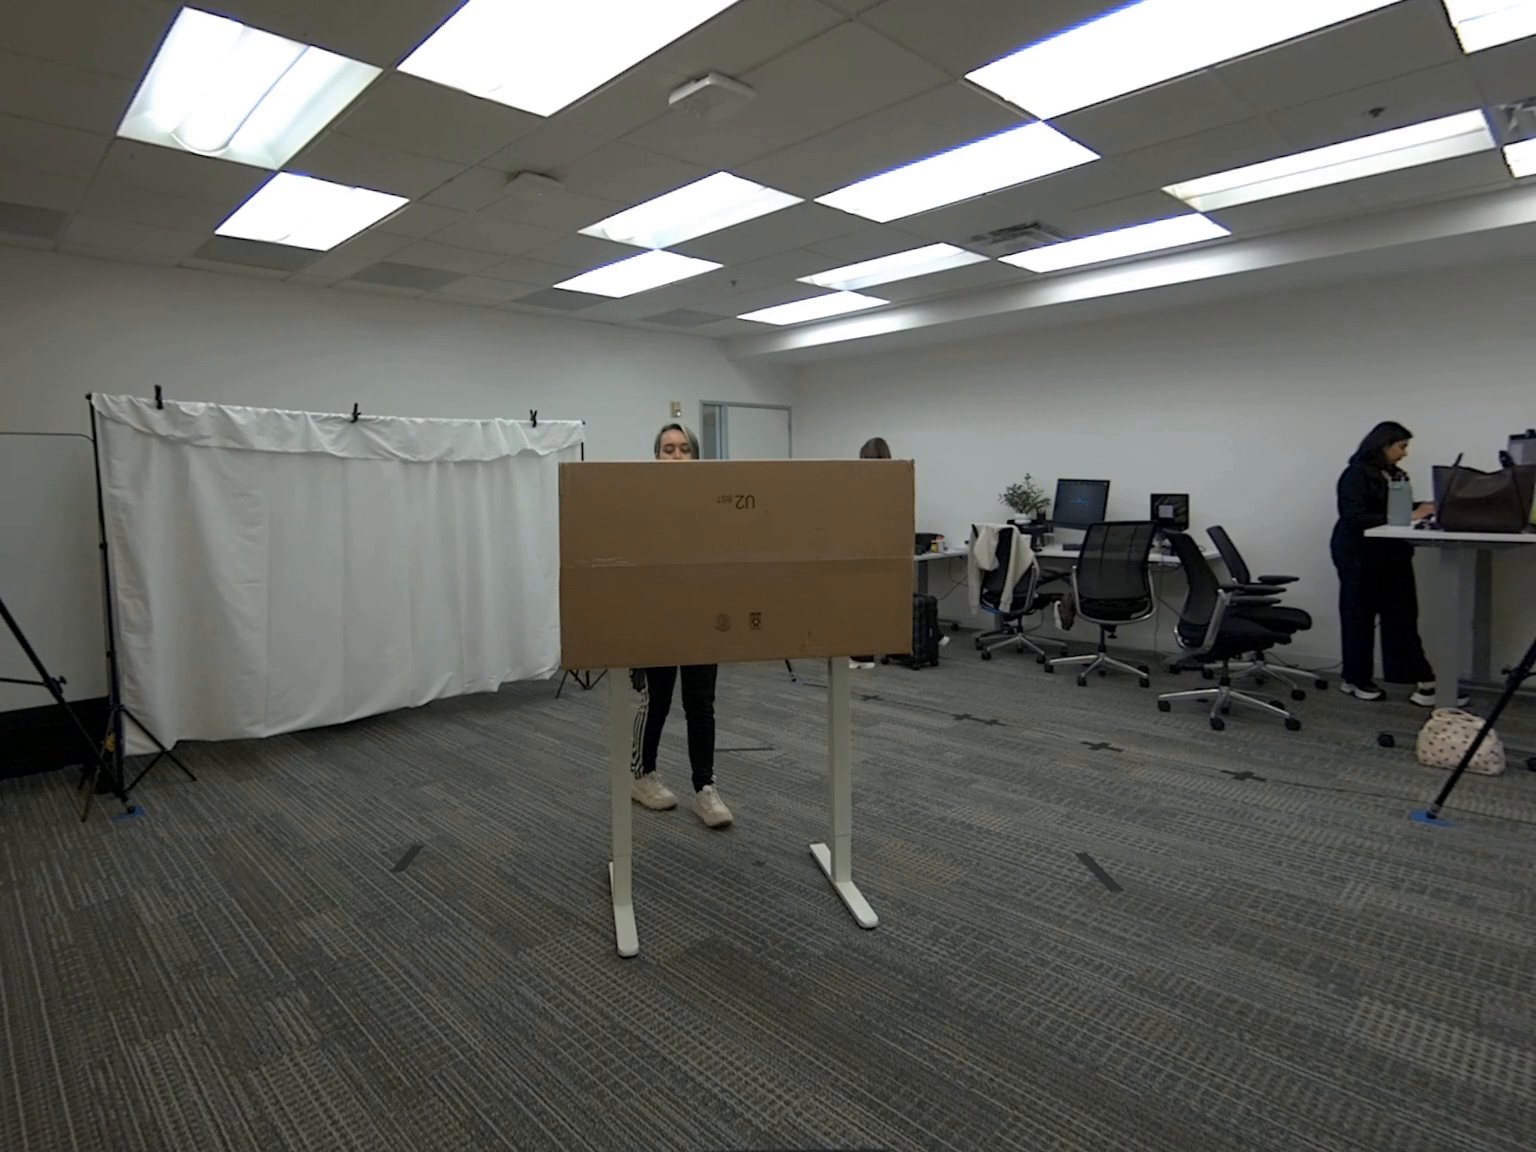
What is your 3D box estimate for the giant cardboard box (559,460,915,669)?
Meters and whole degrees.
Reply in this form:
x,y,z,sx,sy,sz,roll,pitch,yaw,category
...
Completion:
x,y,z,sx,sy,sz,roll,pitch,yaw,category
-0.112,-0.064,2.620,1.017,0.581,0.453,-2,5,-11,giant cardboard box
